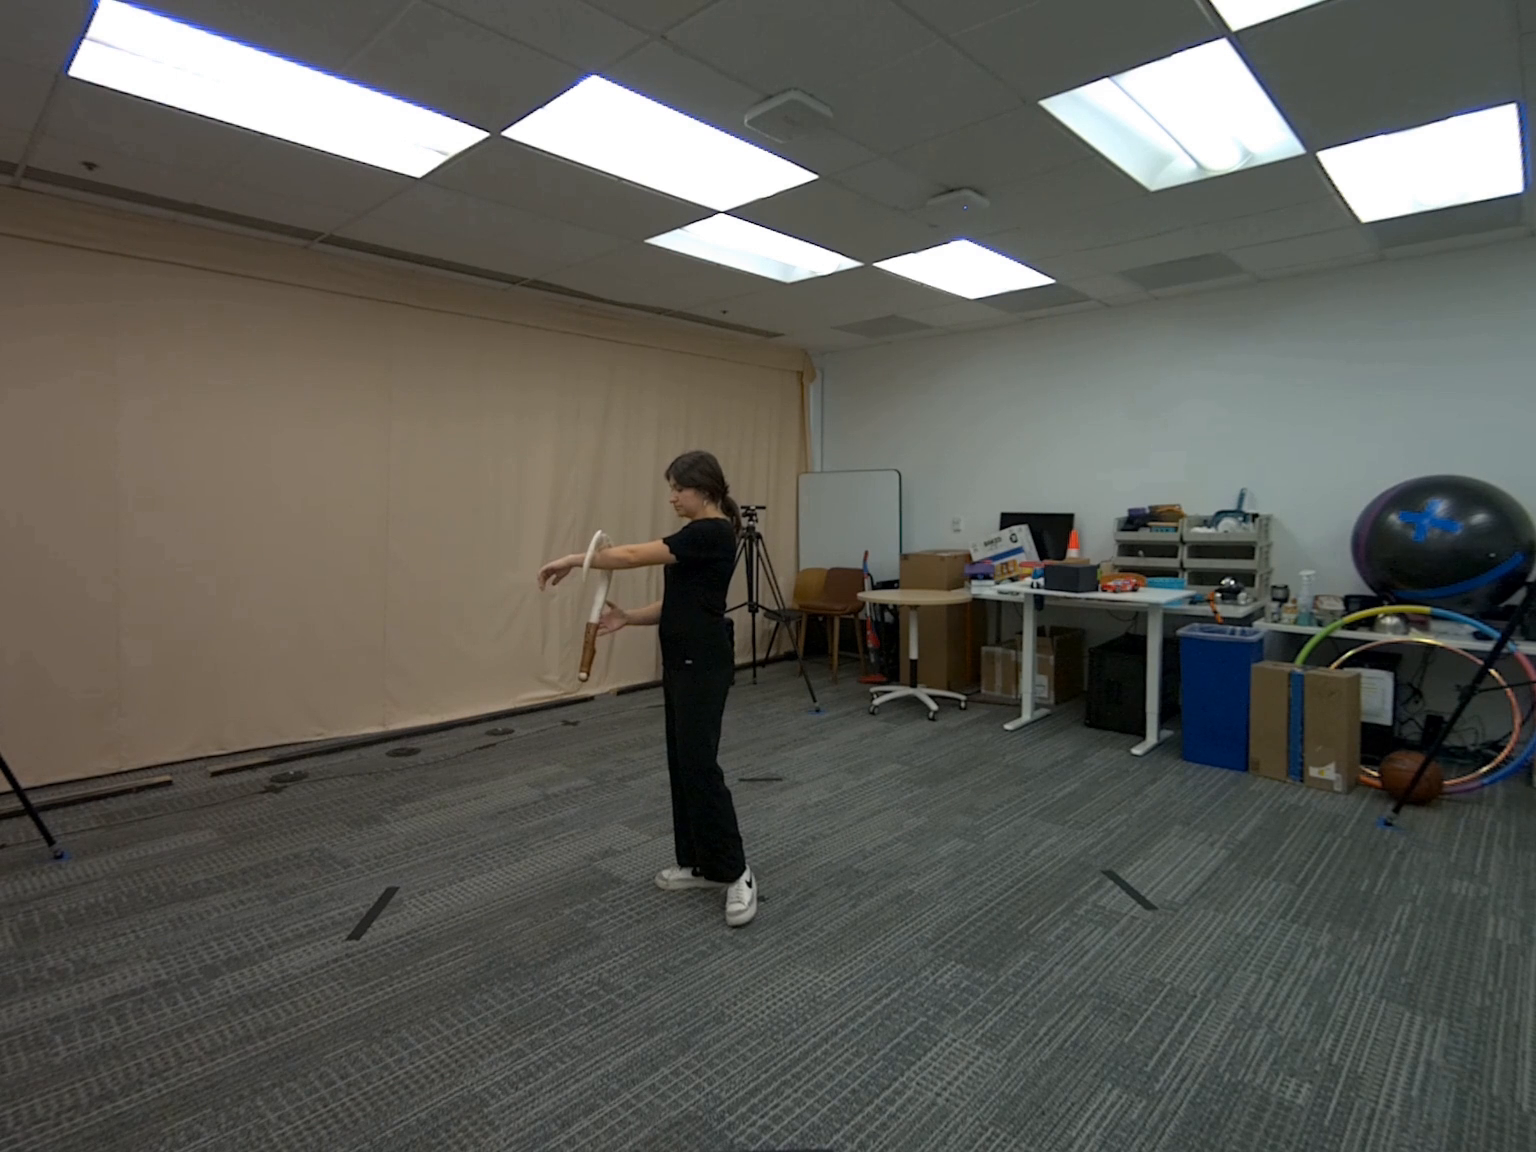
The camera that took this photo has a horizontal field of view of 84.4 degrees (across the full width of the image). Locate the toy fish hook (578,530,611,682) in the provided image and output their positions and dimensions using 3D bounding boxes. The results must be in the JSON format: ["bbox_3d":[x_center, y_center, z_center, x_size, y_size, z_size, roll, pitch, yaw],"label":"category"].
[{"bbox_3d":[-0.596,0.103,2.868,0.049,0.508,0.219,3,-7,16],"label":"toy fish hook"}]
